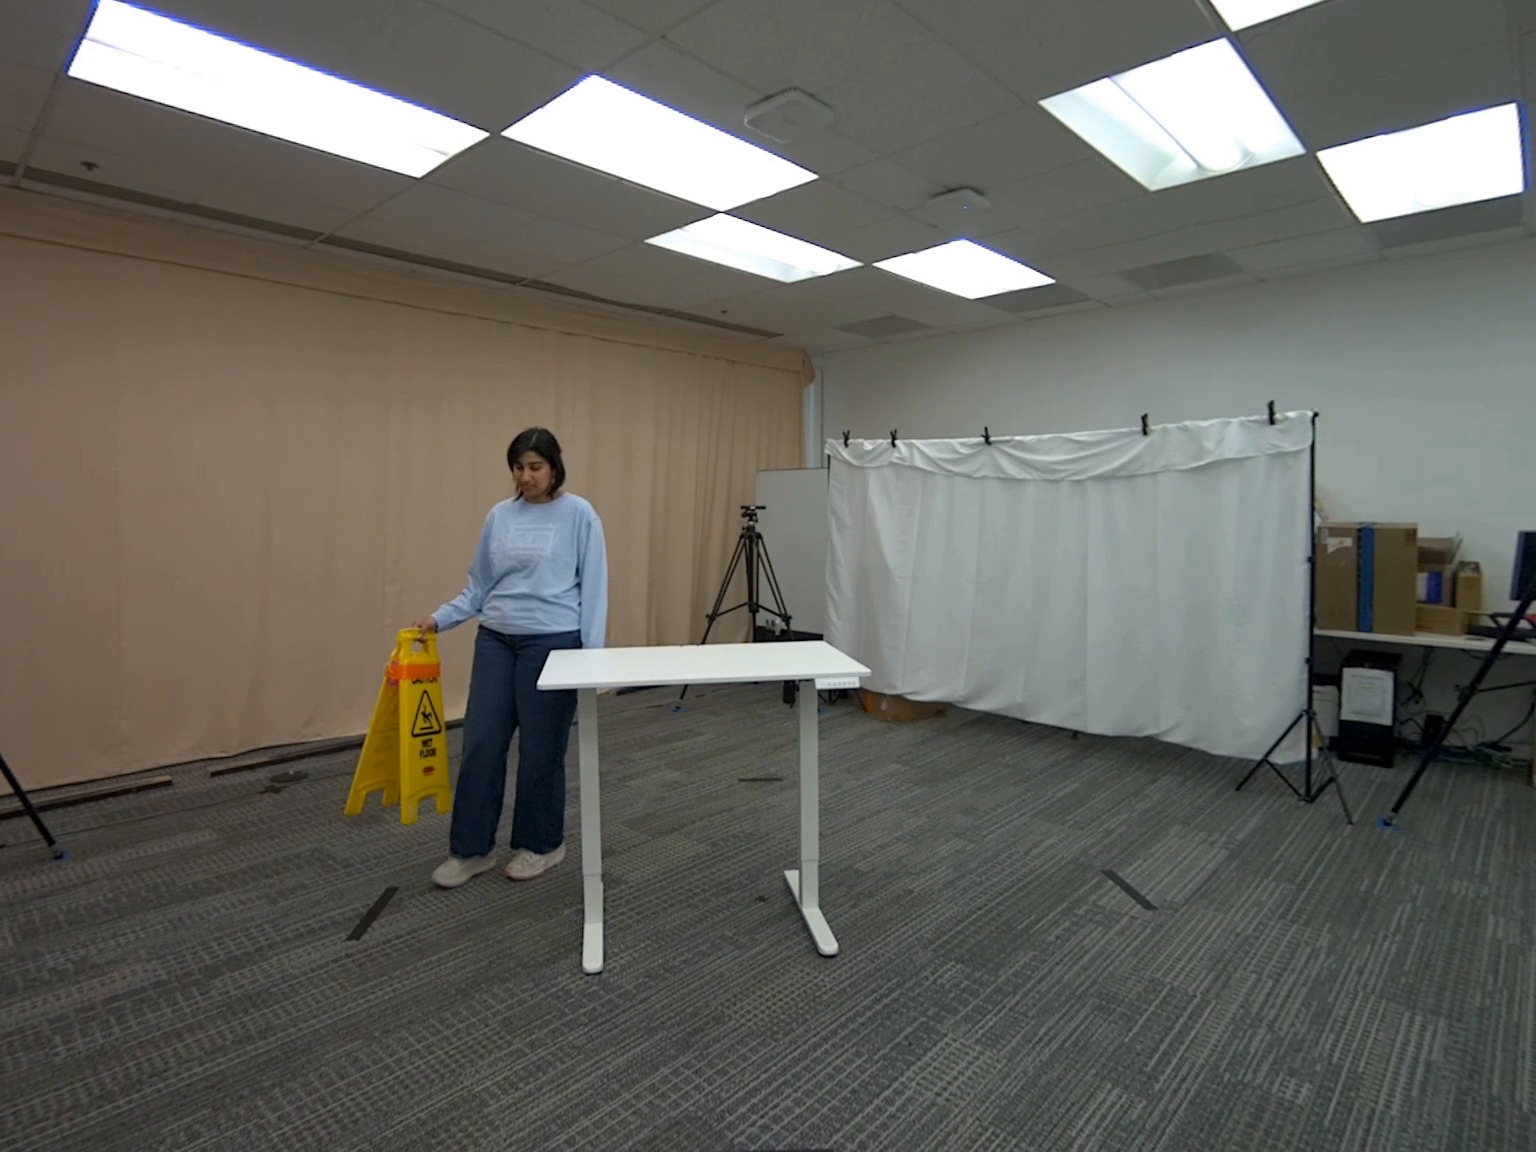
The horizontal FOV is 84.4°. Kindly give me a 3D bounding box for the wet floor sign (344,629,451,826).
[{"bbox_3d":[-1.283,0.523,3.011,0.294,0.648,0.277,2,-6,13],"label":"wet floor sign"}]
